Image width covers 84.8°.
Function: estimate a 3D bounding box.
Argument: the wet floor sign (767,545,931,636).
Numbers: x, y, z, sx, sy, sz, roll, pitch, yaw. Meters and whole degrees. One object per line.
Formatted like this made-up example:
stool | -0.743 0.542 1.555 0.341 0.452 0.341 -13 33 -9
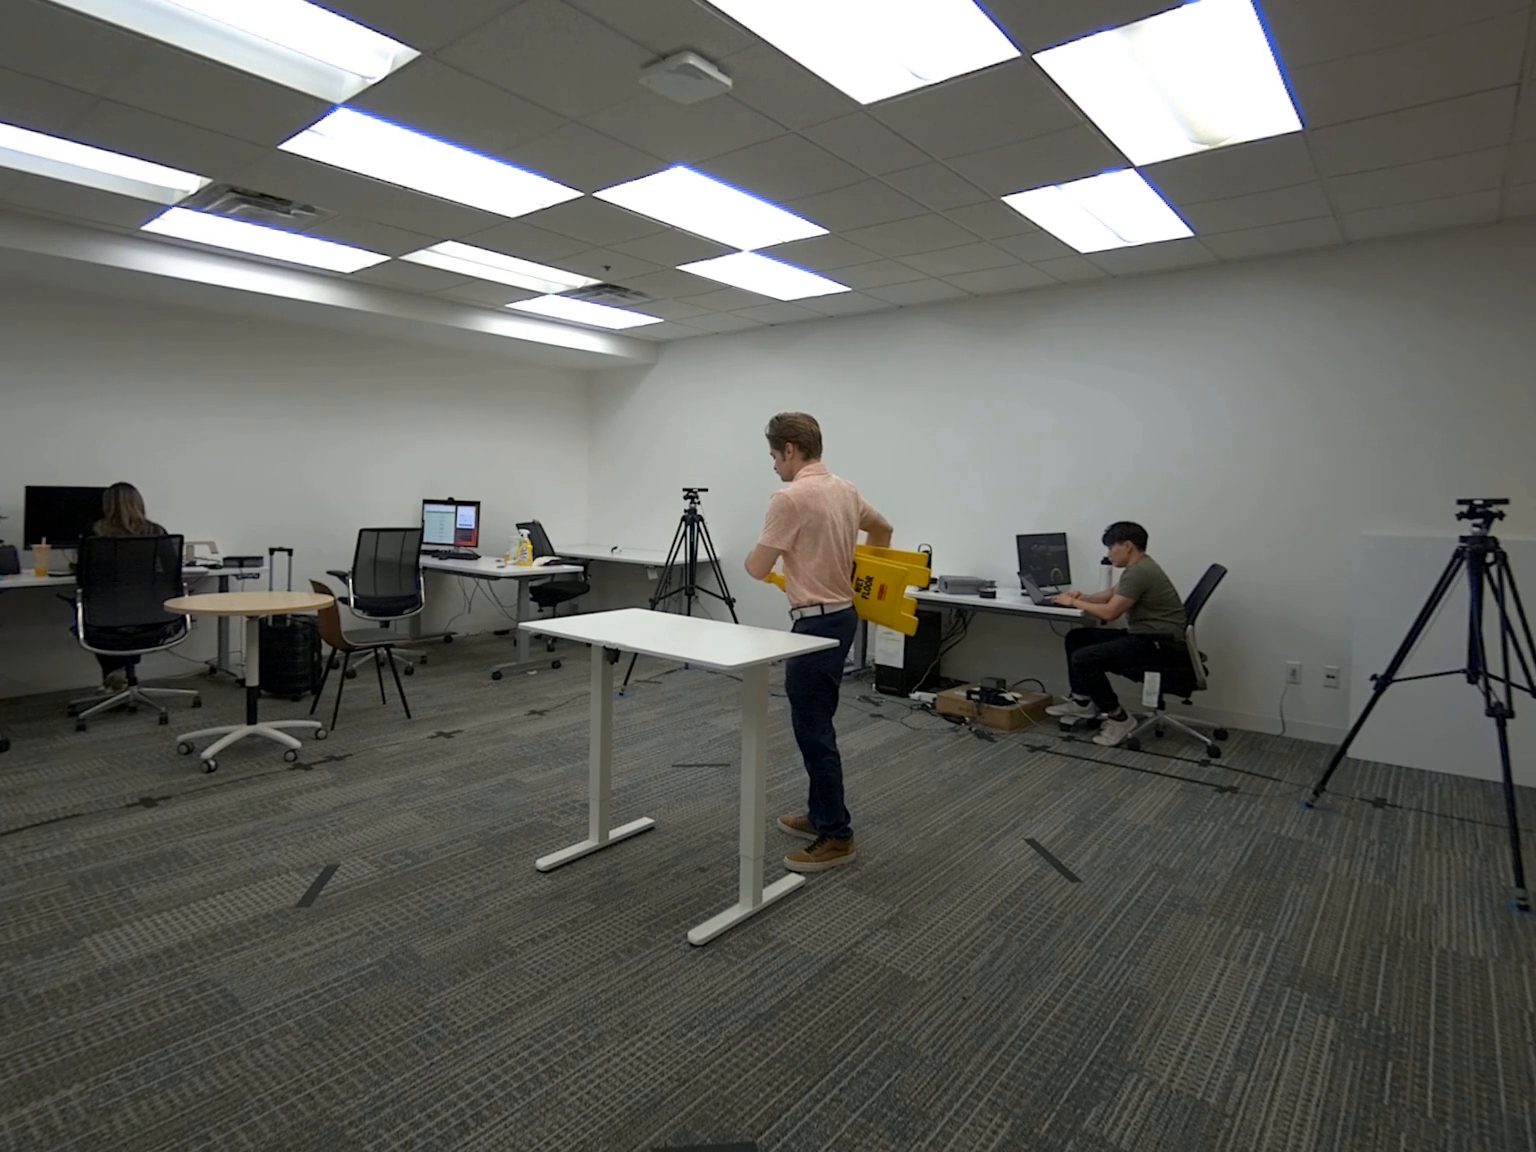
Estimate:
wet floor sign | 0.301 -0.001 3.480 0.652 0.279 0.290 13 16 7
